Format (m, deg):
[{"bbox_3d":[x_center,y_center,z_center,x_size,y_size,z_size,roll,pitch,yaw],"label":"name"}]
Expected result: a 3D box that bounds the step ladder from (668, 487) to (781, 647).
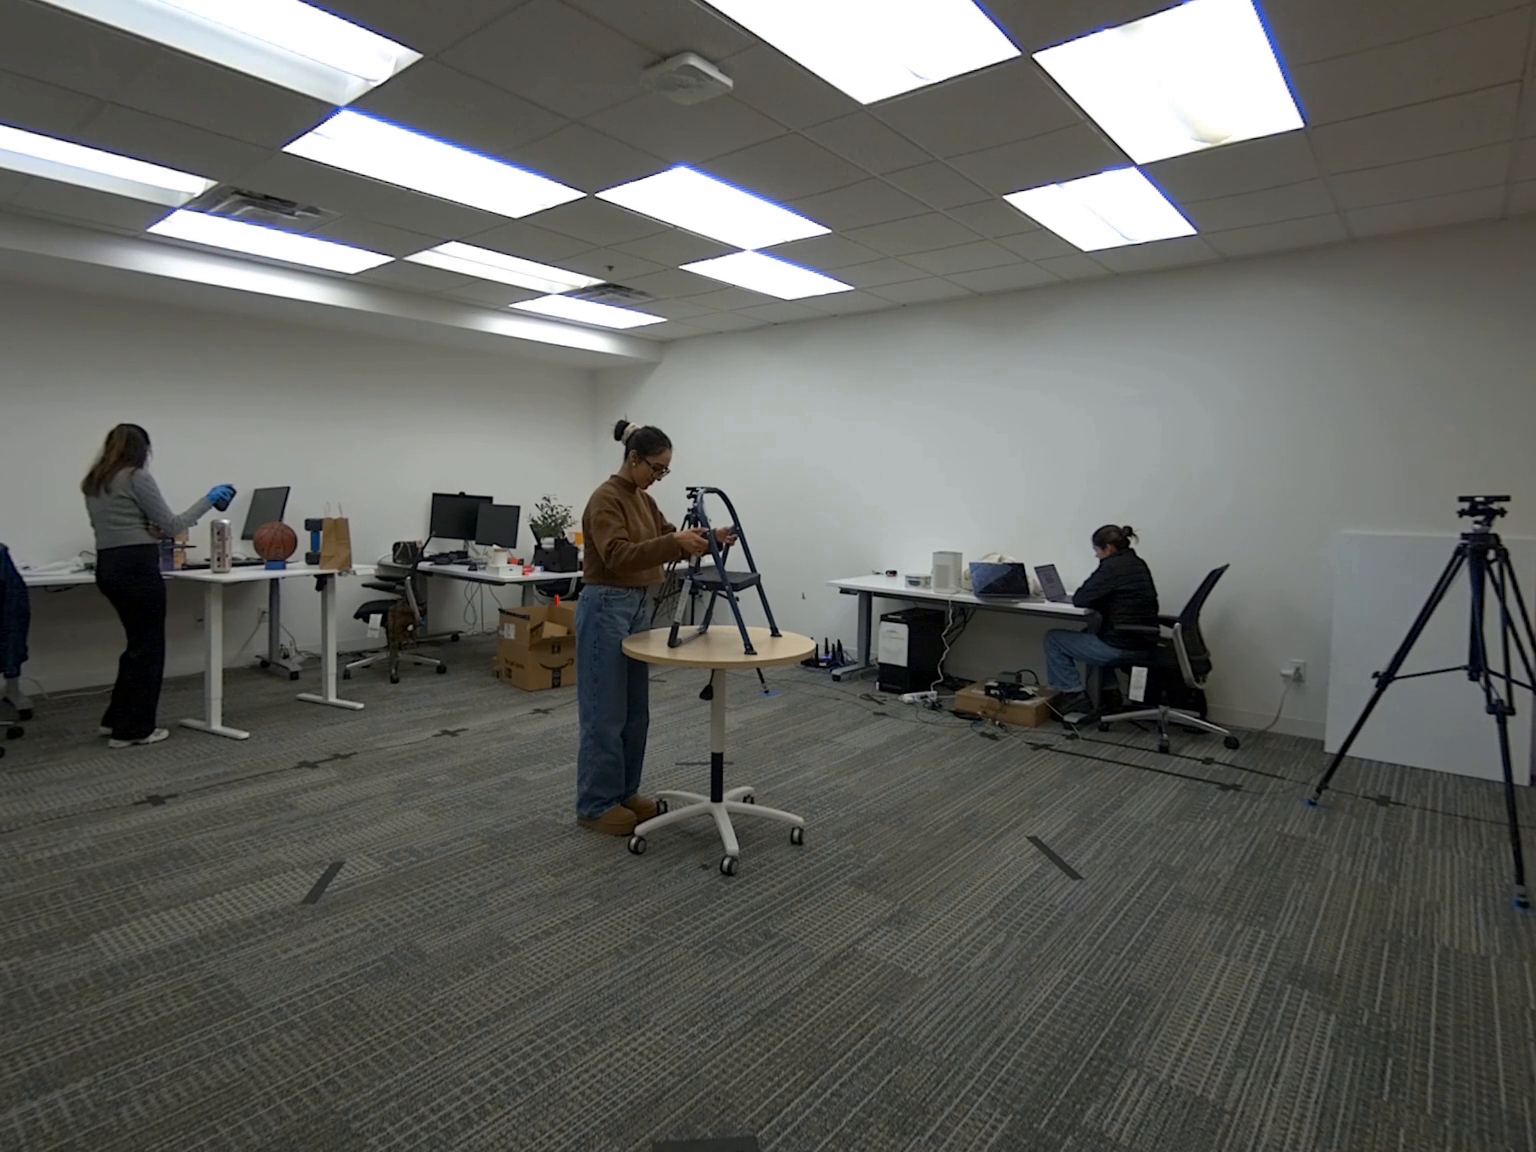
[{"bbox_3d":[-0.169,-0.040,3.346,0.356,0.604,0.424,2,5,16],"label":"step ladder"}]
